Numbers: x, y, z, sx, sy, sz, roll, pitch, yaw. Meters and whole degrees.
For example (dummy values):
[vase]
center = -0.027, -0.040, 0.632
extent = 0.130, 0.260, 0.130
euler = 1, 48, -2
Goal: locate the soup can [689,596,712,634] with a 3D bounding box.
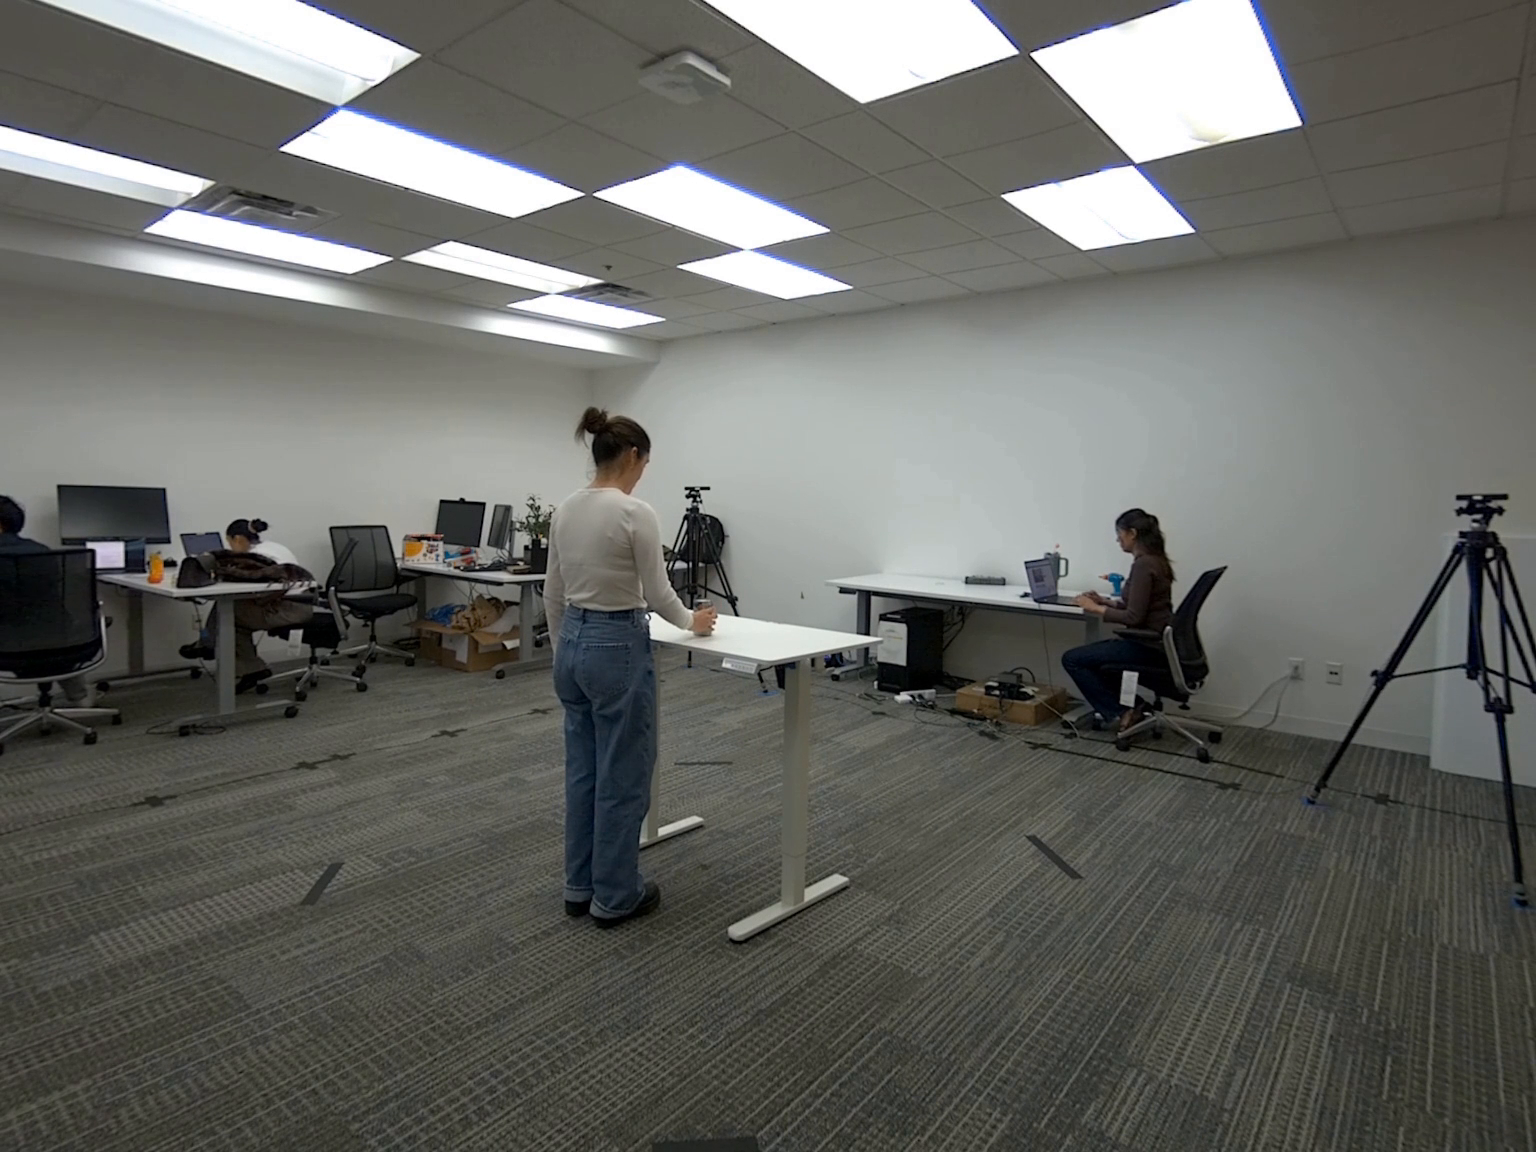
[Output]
[soup can]
center = -0.236, 0.136, 2.923
extent = 0.067, 0.121, 0.067
euler = 3, 2, -2
